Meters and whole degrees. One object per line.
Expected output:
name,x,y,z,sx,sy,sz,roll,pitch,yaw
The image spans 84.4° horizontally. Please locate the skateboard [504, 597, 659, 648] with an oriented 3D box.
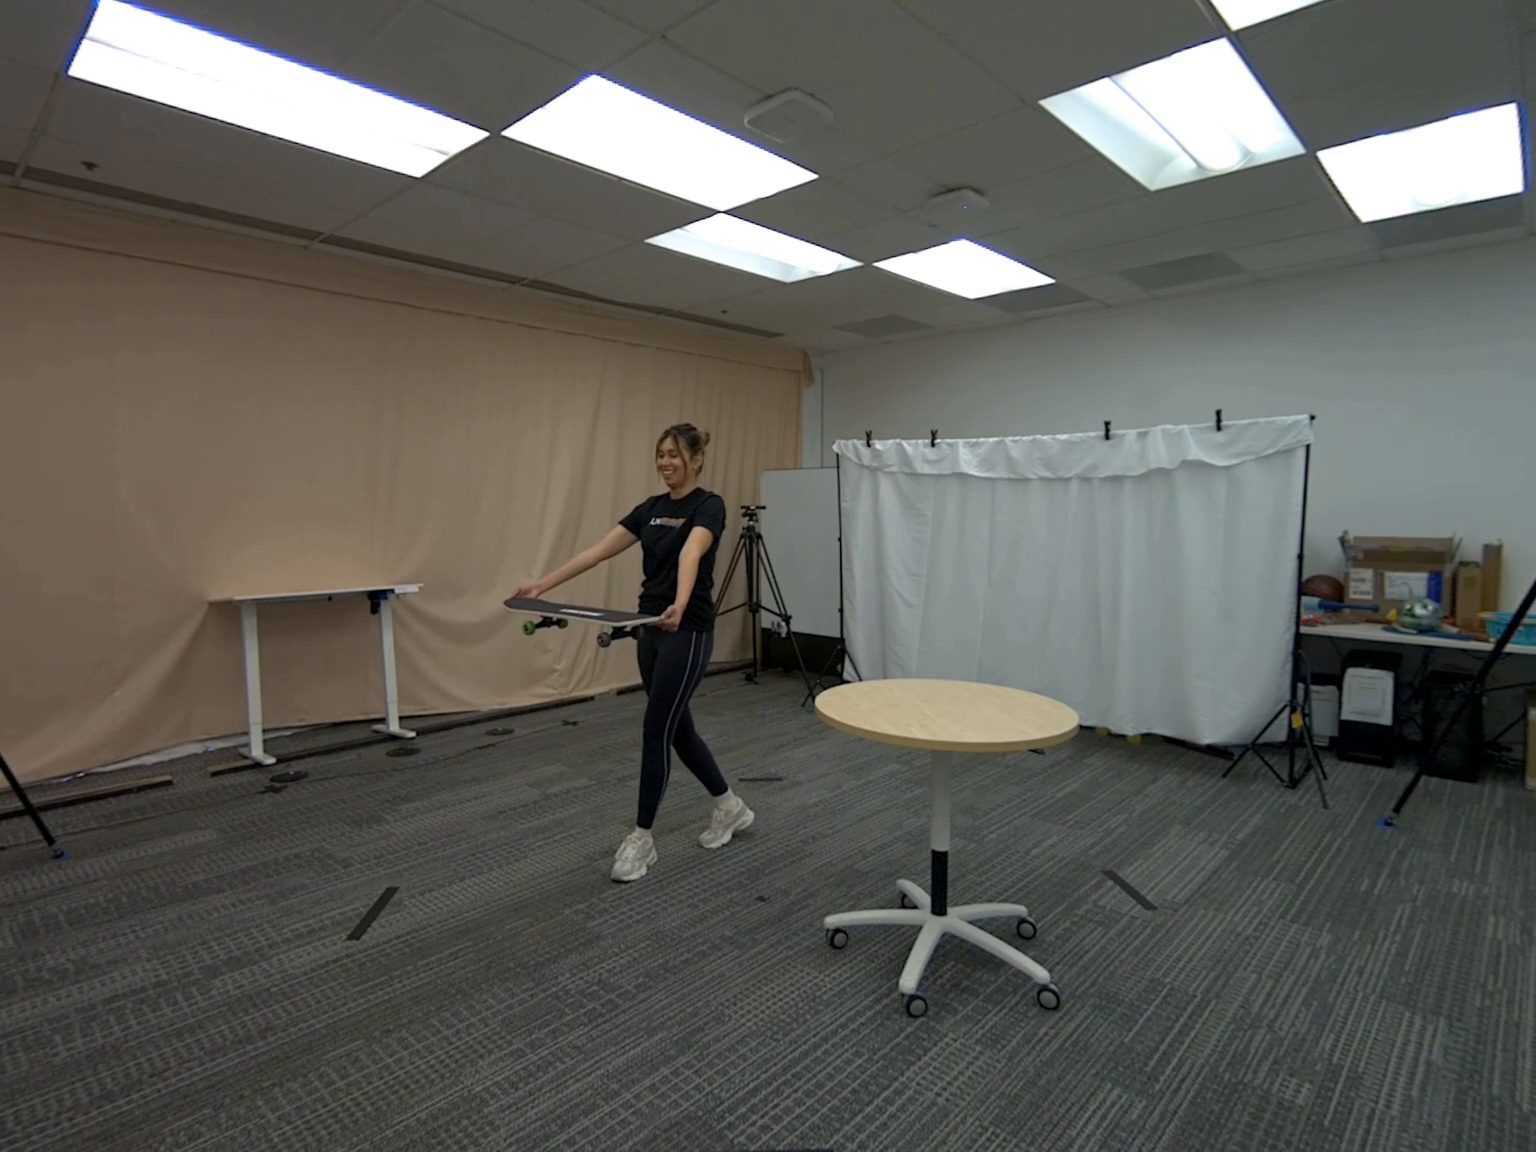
skateboard,-0.653,0.161,2.969,0.811,0.110,0.188,5,9,38
